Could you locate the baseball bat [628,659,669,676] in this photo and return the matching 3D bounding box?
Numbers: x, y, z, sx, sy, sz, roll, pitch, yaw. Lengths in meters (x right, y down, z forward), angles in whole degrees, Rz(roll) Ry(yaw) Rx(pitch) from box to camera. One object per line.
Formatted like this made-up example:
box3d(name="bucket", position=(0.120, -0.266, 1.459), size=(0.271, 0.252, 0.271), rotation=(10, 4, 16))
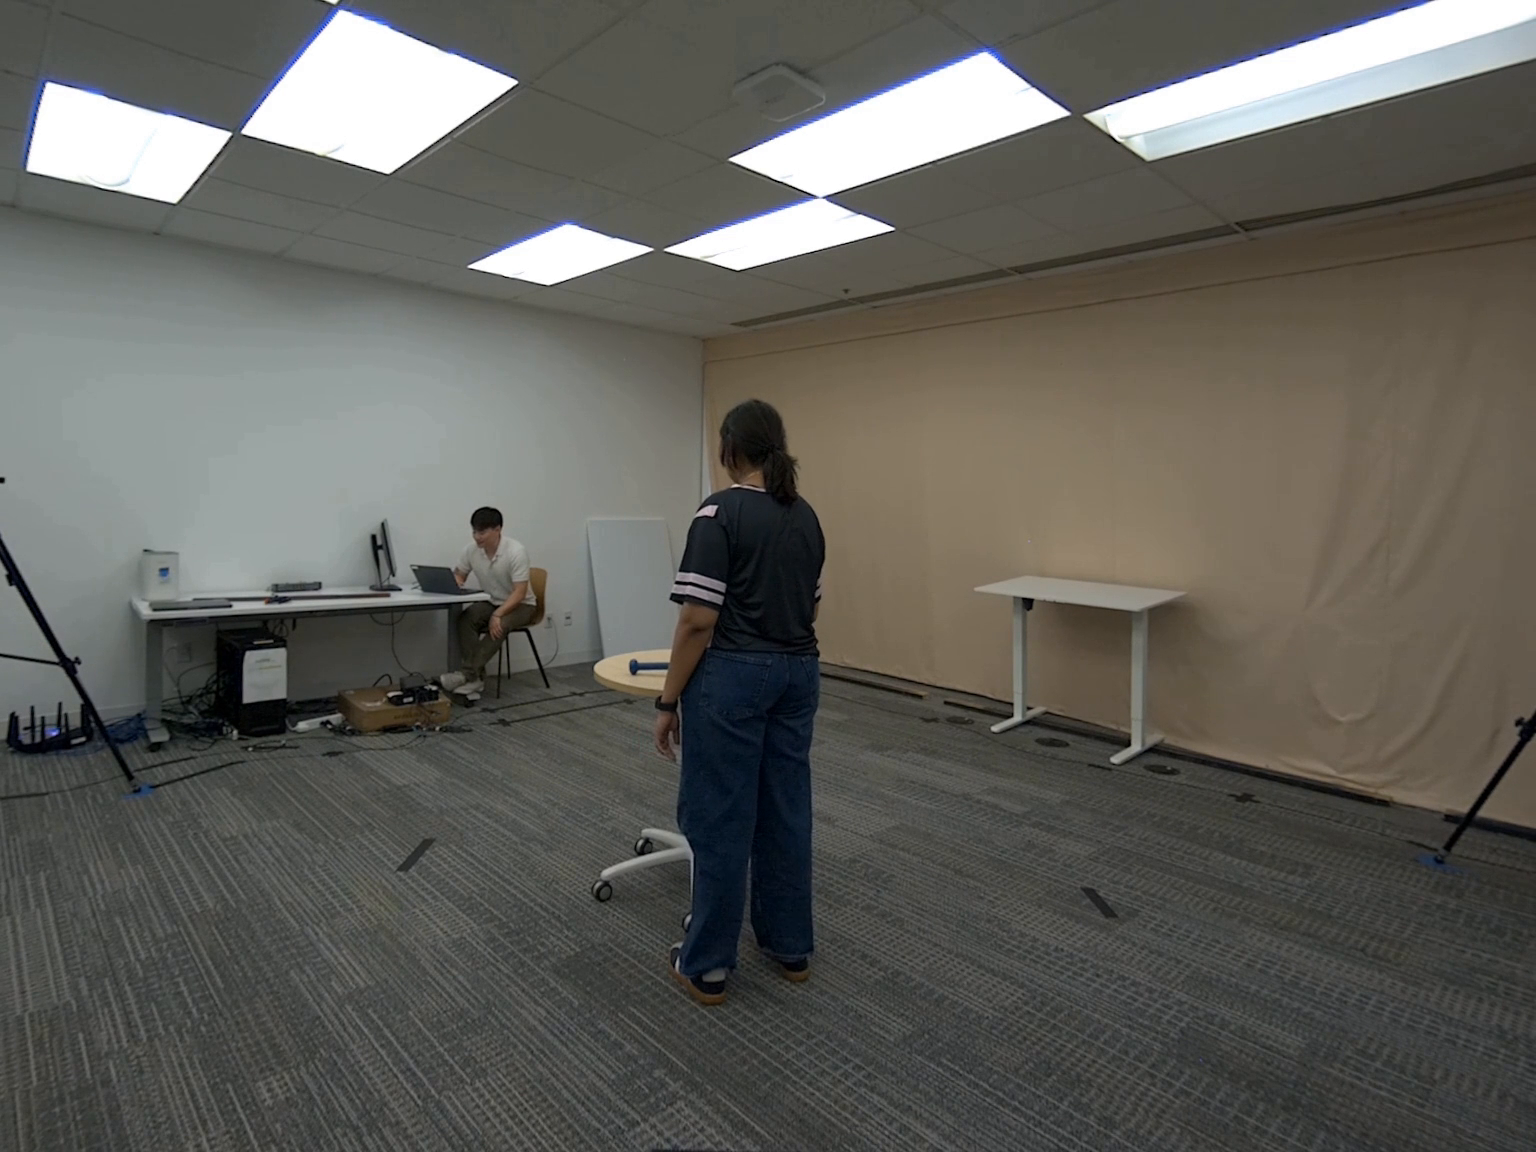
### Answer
box3d(name="baseball bat", position=(-0.206, 0.313, 2.824), size=(0.543, 0.089, 0.089), rotation=(-1, 4, 1))
